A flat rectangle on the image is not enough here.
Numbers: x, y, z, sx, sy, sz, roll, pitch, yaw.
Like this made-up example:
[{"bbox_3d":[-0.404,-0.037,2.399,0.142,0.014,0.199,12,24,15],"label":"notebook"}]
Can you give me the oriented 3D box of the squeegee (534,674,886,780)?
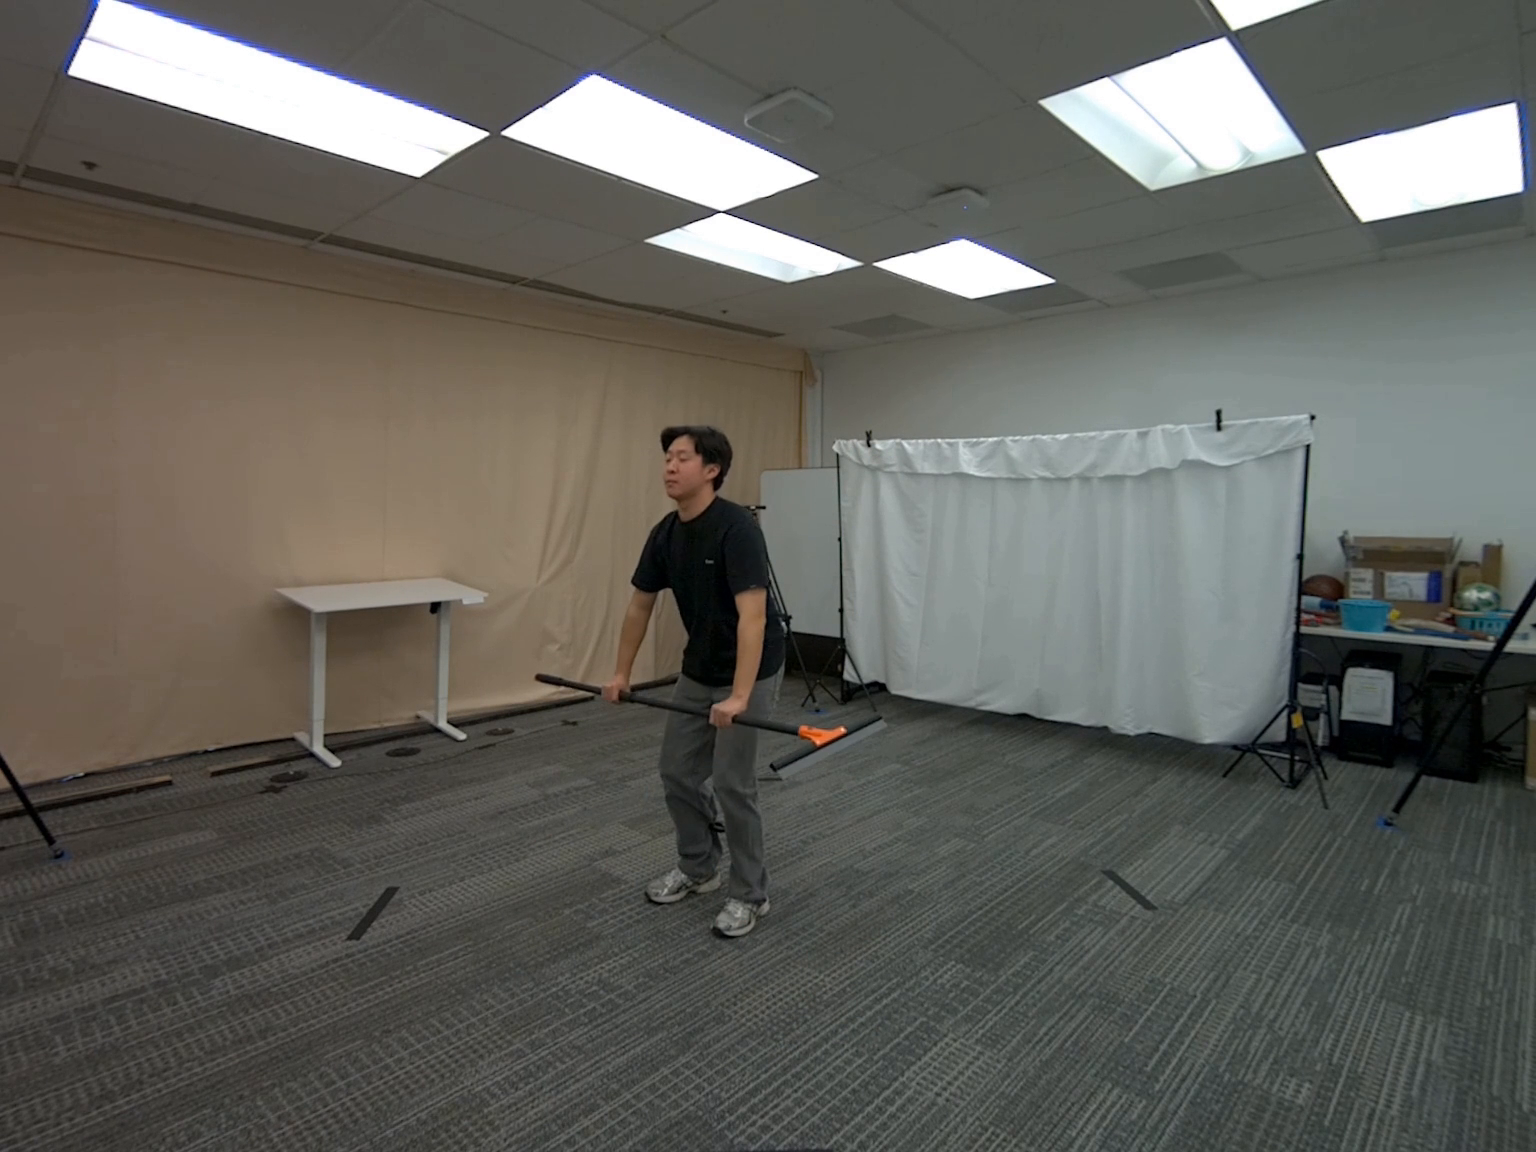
[{"bbox_3d":[-0.371,0.428,2.752,0.427,0.052,1.587,-19,13,-41],"label":"squeegee"}]
